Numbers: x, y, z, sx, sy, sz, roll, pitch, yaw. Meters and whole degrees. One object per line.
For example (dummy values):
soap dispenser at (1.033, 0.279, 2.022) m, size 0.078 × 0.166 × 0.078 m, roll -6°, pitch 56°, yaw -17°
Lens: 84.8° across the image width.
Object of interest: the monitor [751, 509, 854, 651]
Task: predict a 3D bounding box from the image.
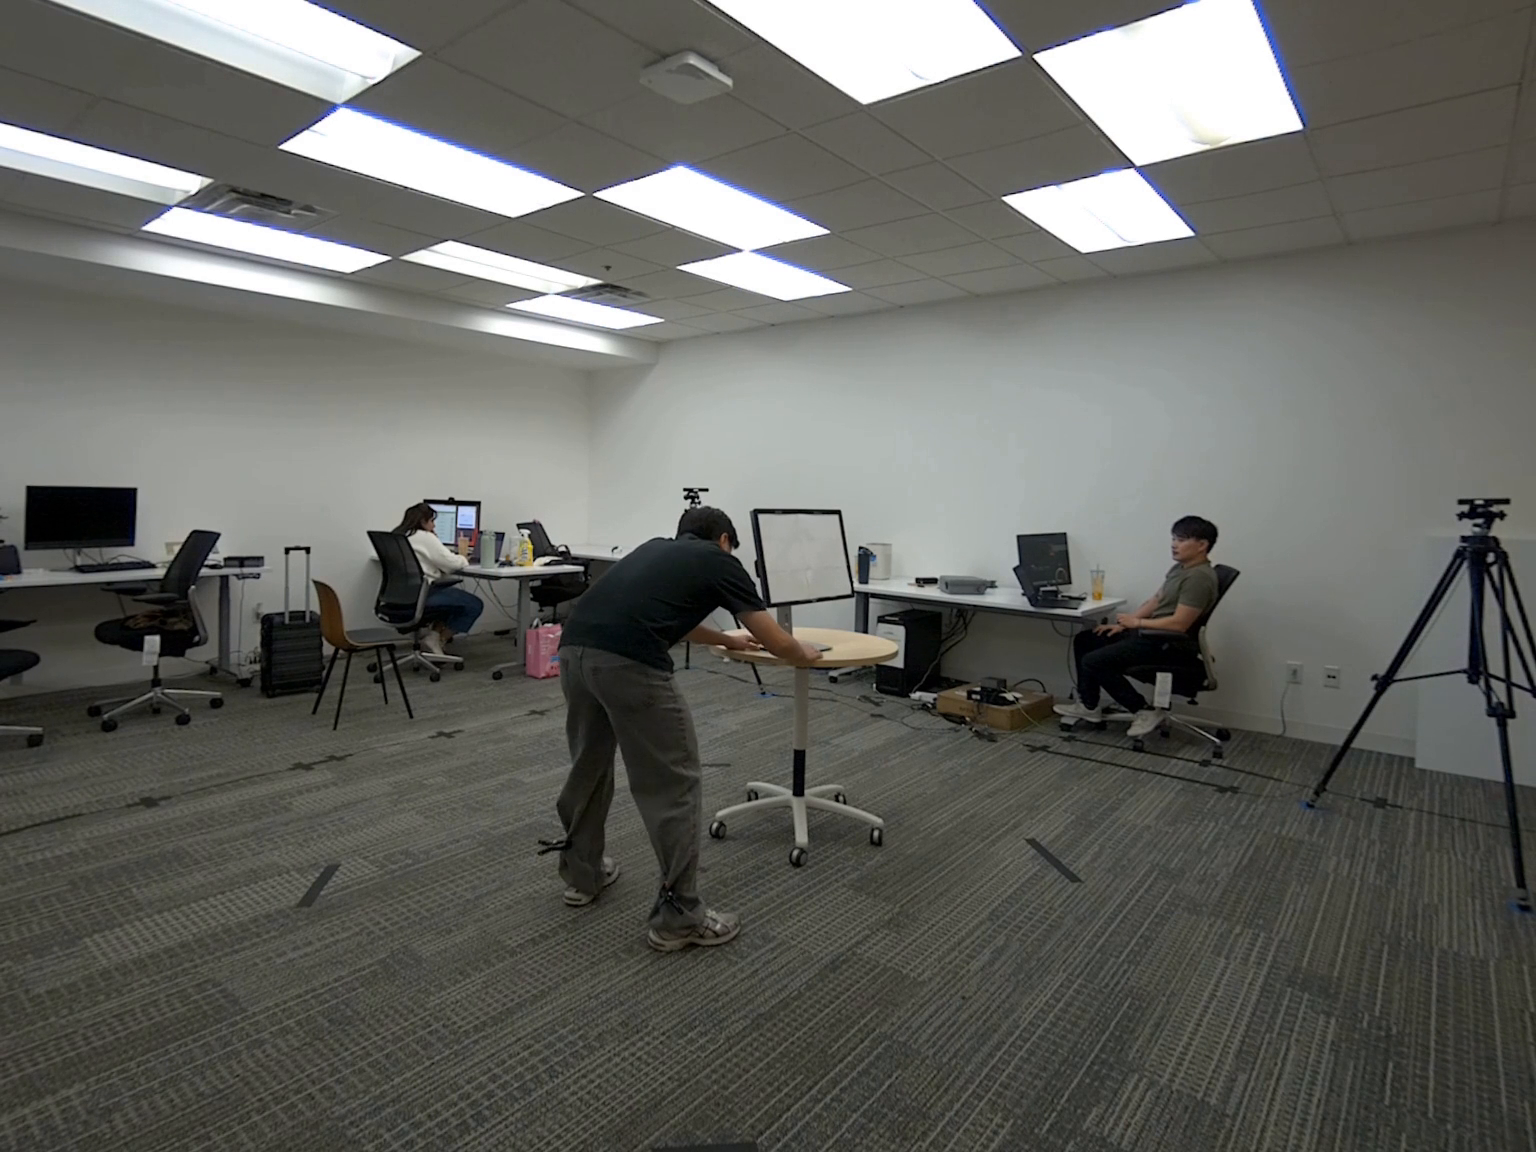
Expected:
monitor at (0.083, 0.012, 3.308) m, size 0.216 × 0.555 × 0.548 m, roll -5°, pitch -1°, yaw 40°
